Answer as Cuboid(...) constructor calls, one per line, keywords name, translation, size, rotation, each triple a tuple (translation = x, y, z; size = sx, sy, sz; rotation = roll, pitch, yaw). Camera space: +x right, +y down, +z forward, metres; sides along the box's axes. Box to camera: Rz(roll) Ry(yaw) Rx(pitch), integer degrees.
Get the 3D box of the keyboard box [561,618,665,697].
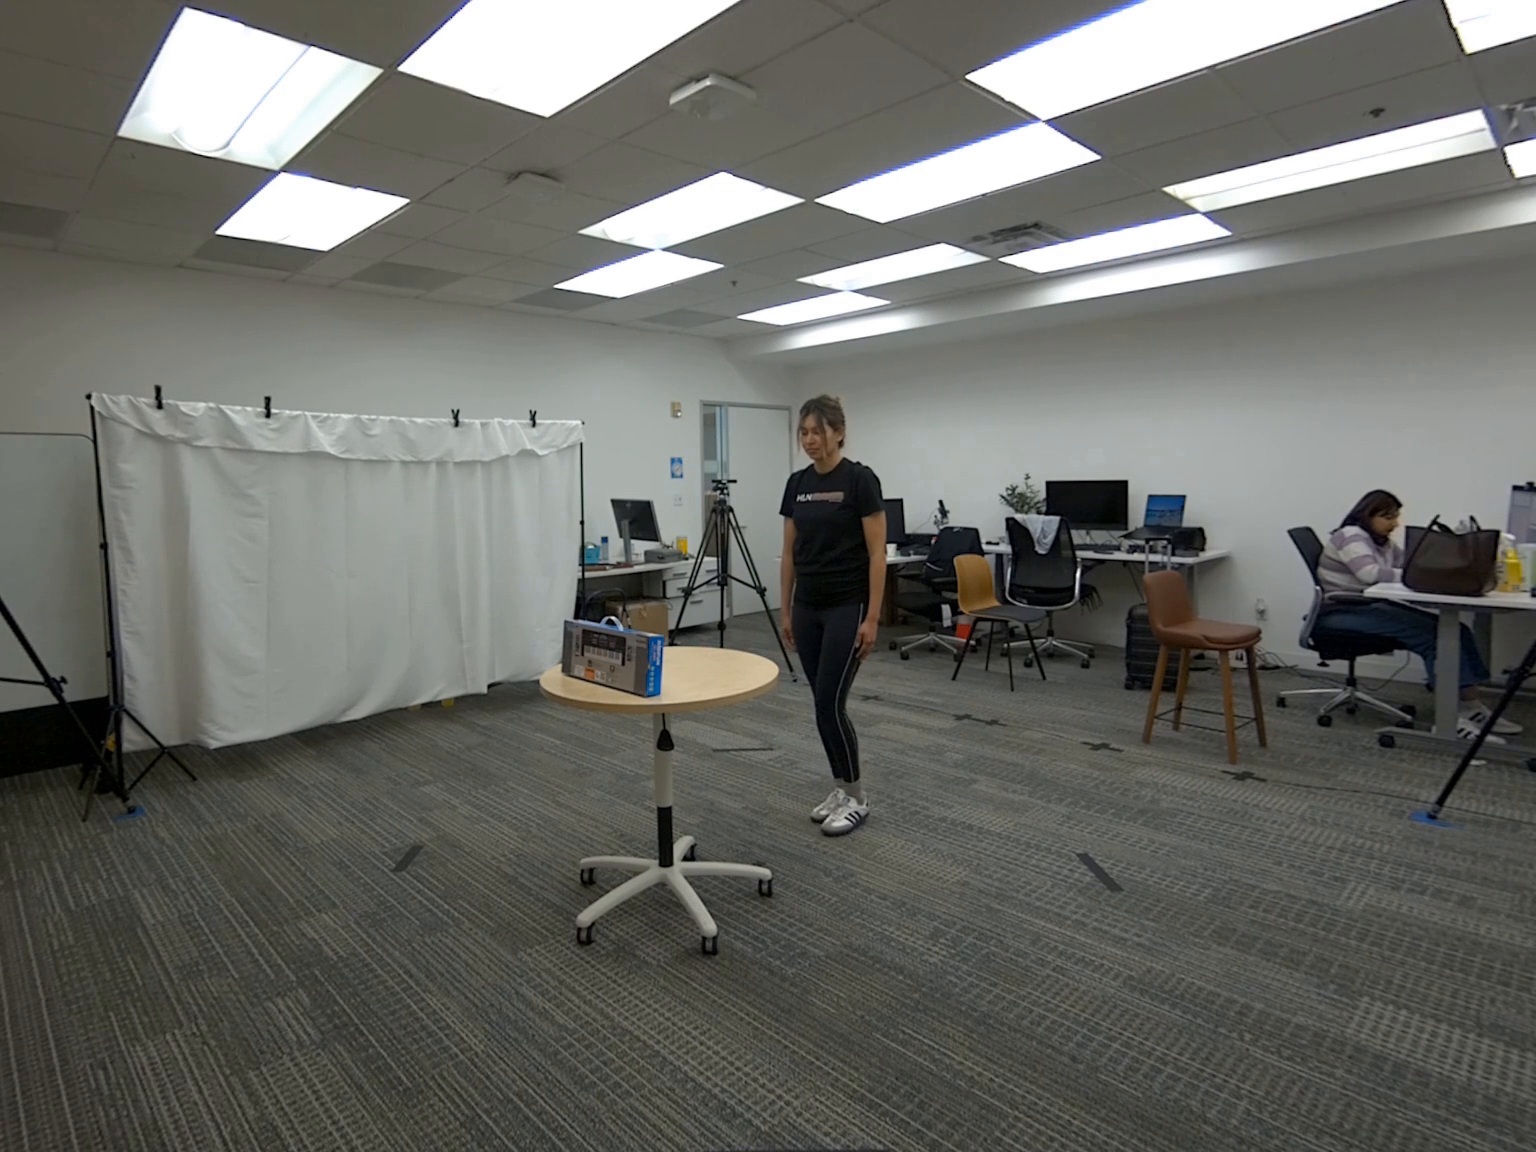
Cuboid(name="keyboard box", translation=(-0.482, 0.245, 2.614), size=(0.450, 0.176, 0.057), rotation=(5, 2, 45))
